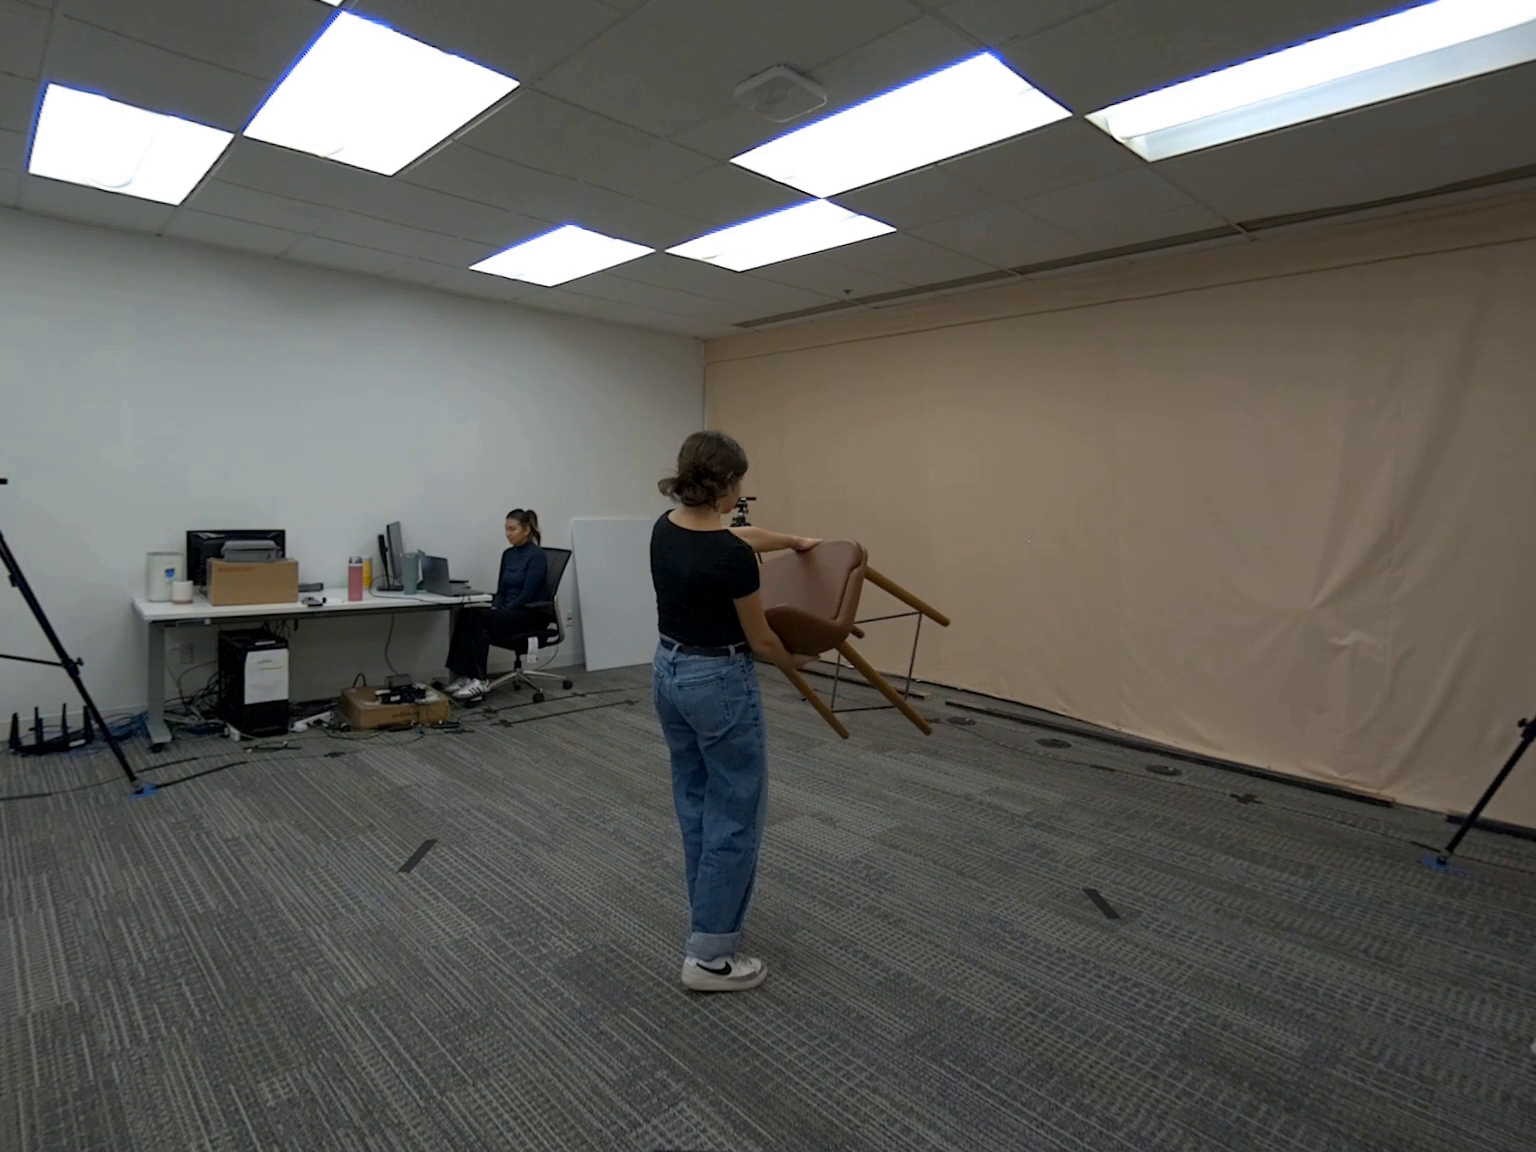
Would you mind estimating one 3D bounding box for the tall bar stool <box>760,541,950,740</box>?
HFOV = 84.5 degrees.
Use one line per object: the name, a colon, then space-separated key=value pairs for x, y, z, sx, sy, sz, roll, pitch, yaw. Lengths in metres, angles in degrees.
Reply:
tall bar stool: x=0.192 y=0.178 z=2.853 sx=0.465 sy=0.473 sz=0.863 roll=-13 pitch=-39 yaw=42
